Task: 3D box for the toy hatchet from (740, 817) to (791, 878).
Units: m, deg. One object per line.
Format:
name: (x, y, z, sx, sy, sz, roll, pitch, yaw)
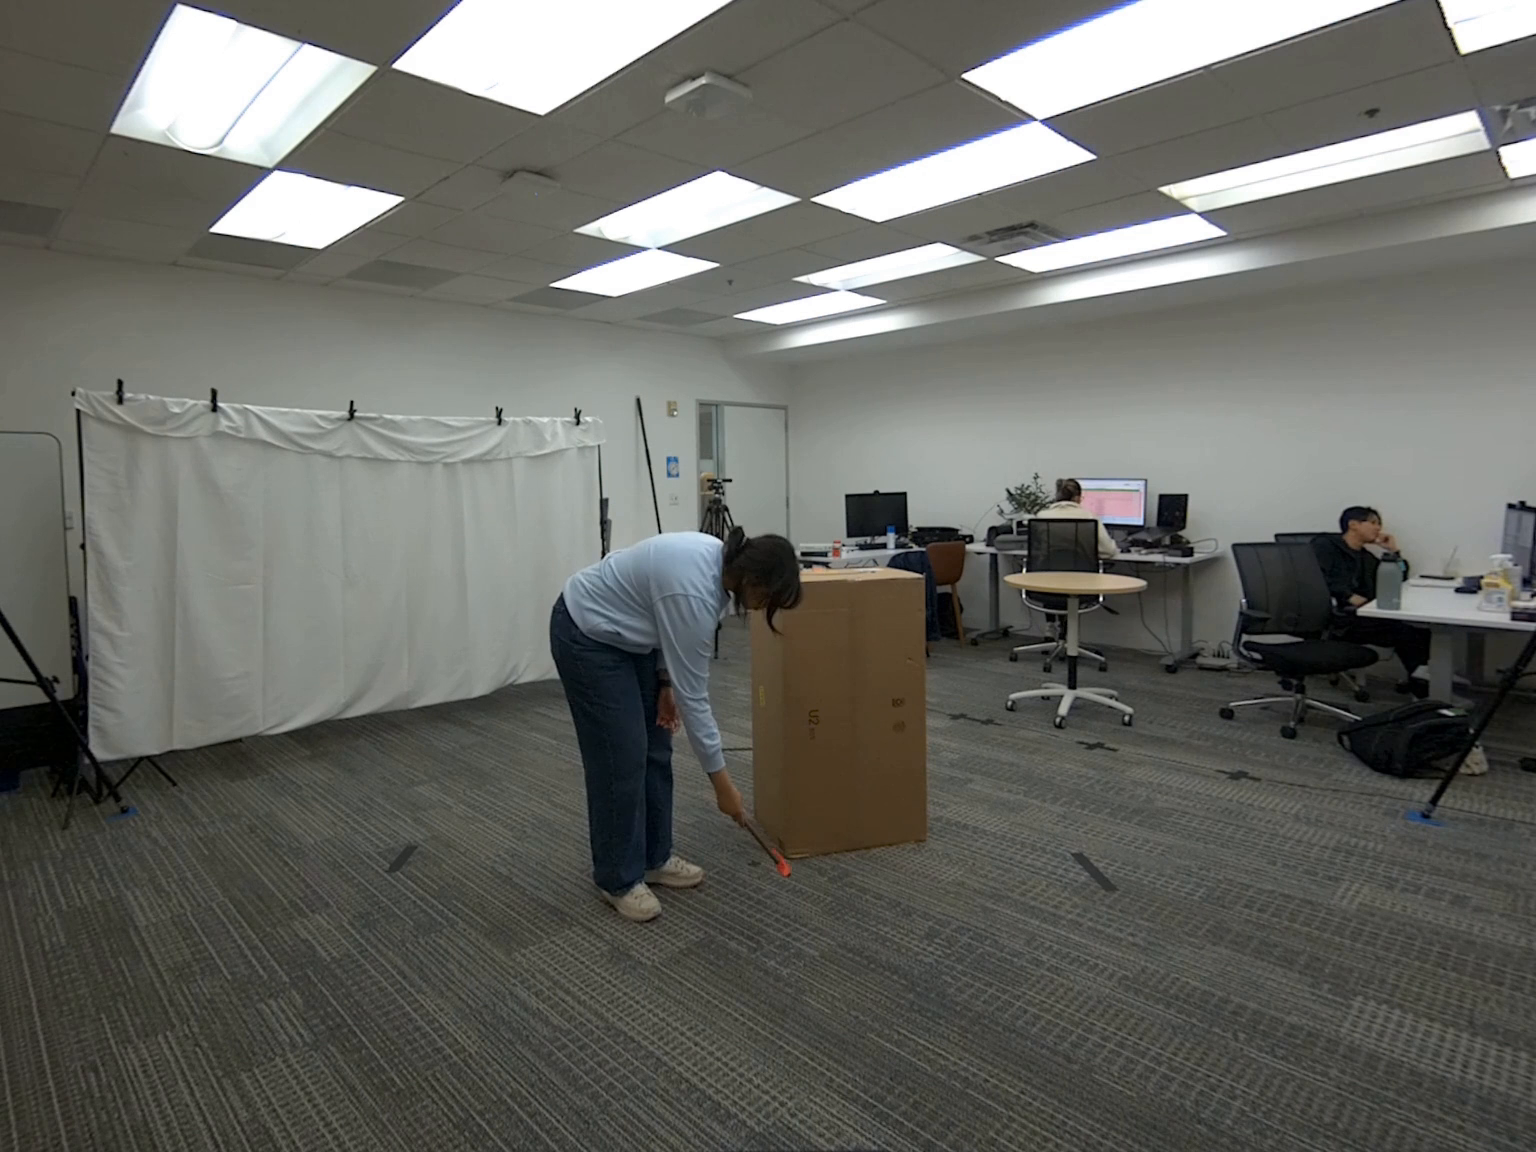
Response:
toy hatchet: (-0.022, 0.805, 2.691, 0.029, 0.278, 0.127, -36, -26, 1)
